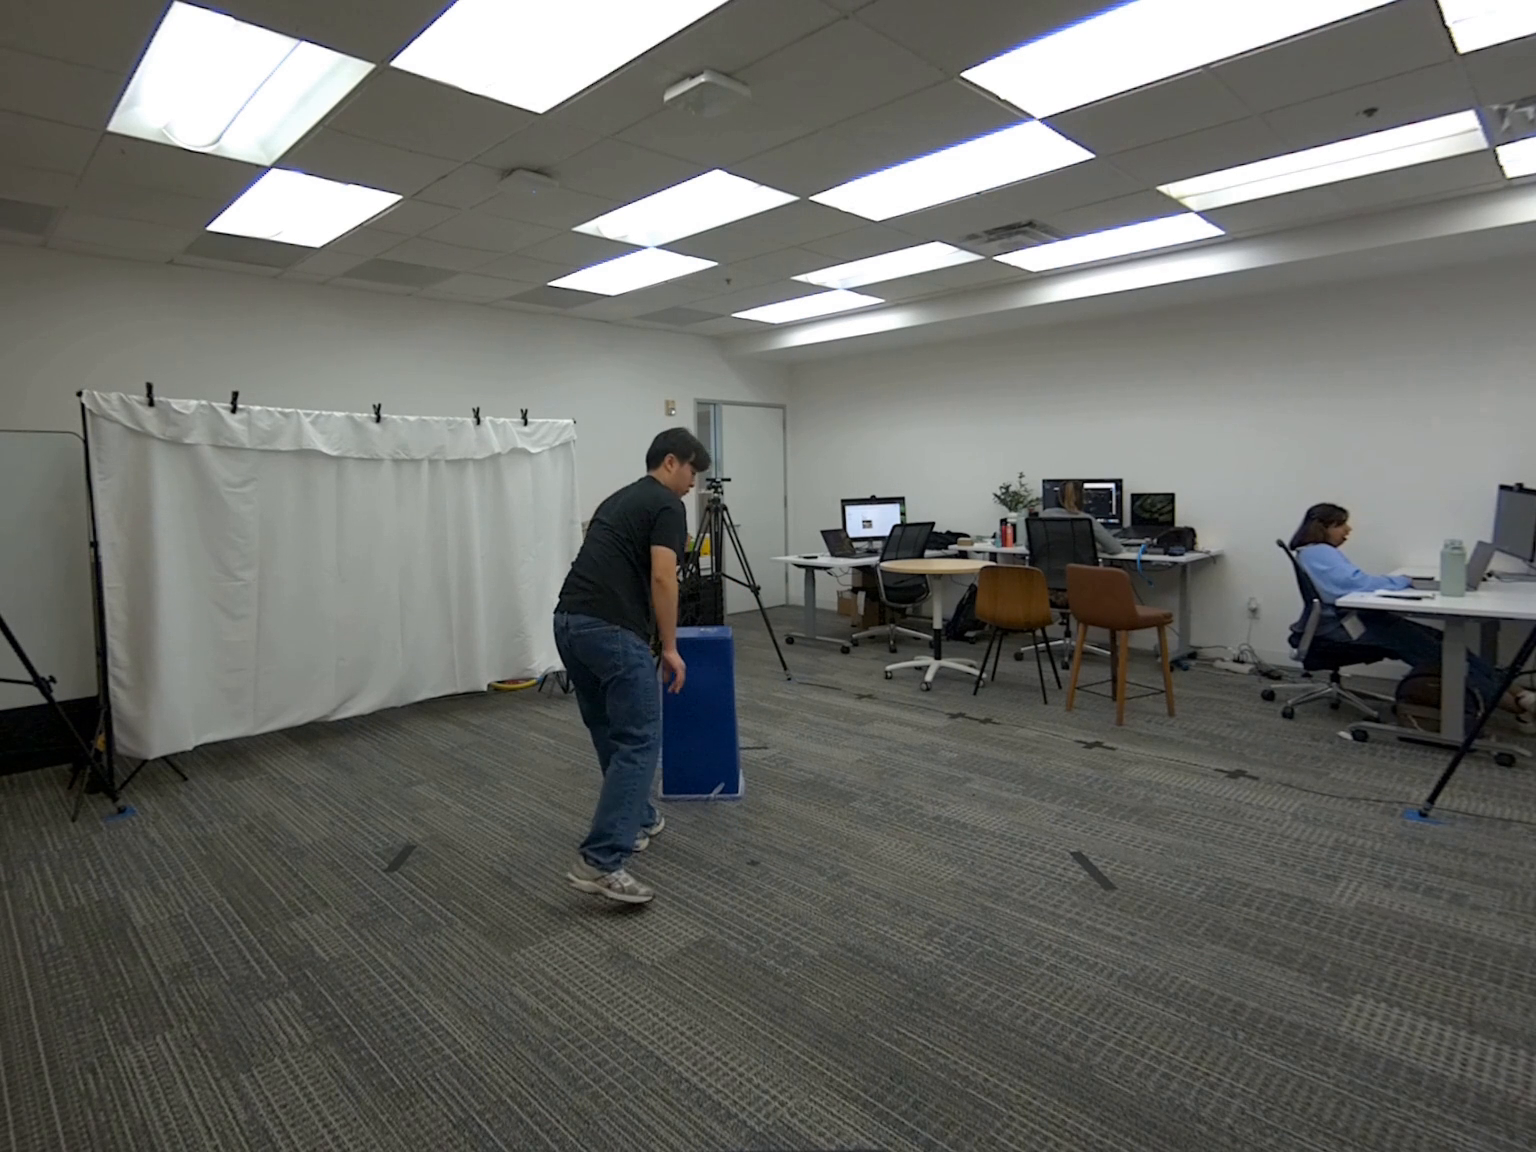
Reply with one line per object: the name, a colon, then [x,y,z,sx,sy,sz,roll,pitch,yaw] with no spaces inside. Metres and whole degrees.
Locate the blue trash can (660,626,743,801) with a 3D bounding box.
blue trash can: [-0.302,0.609,3.891,0.378,0.712,0.375,-1,2,0]
